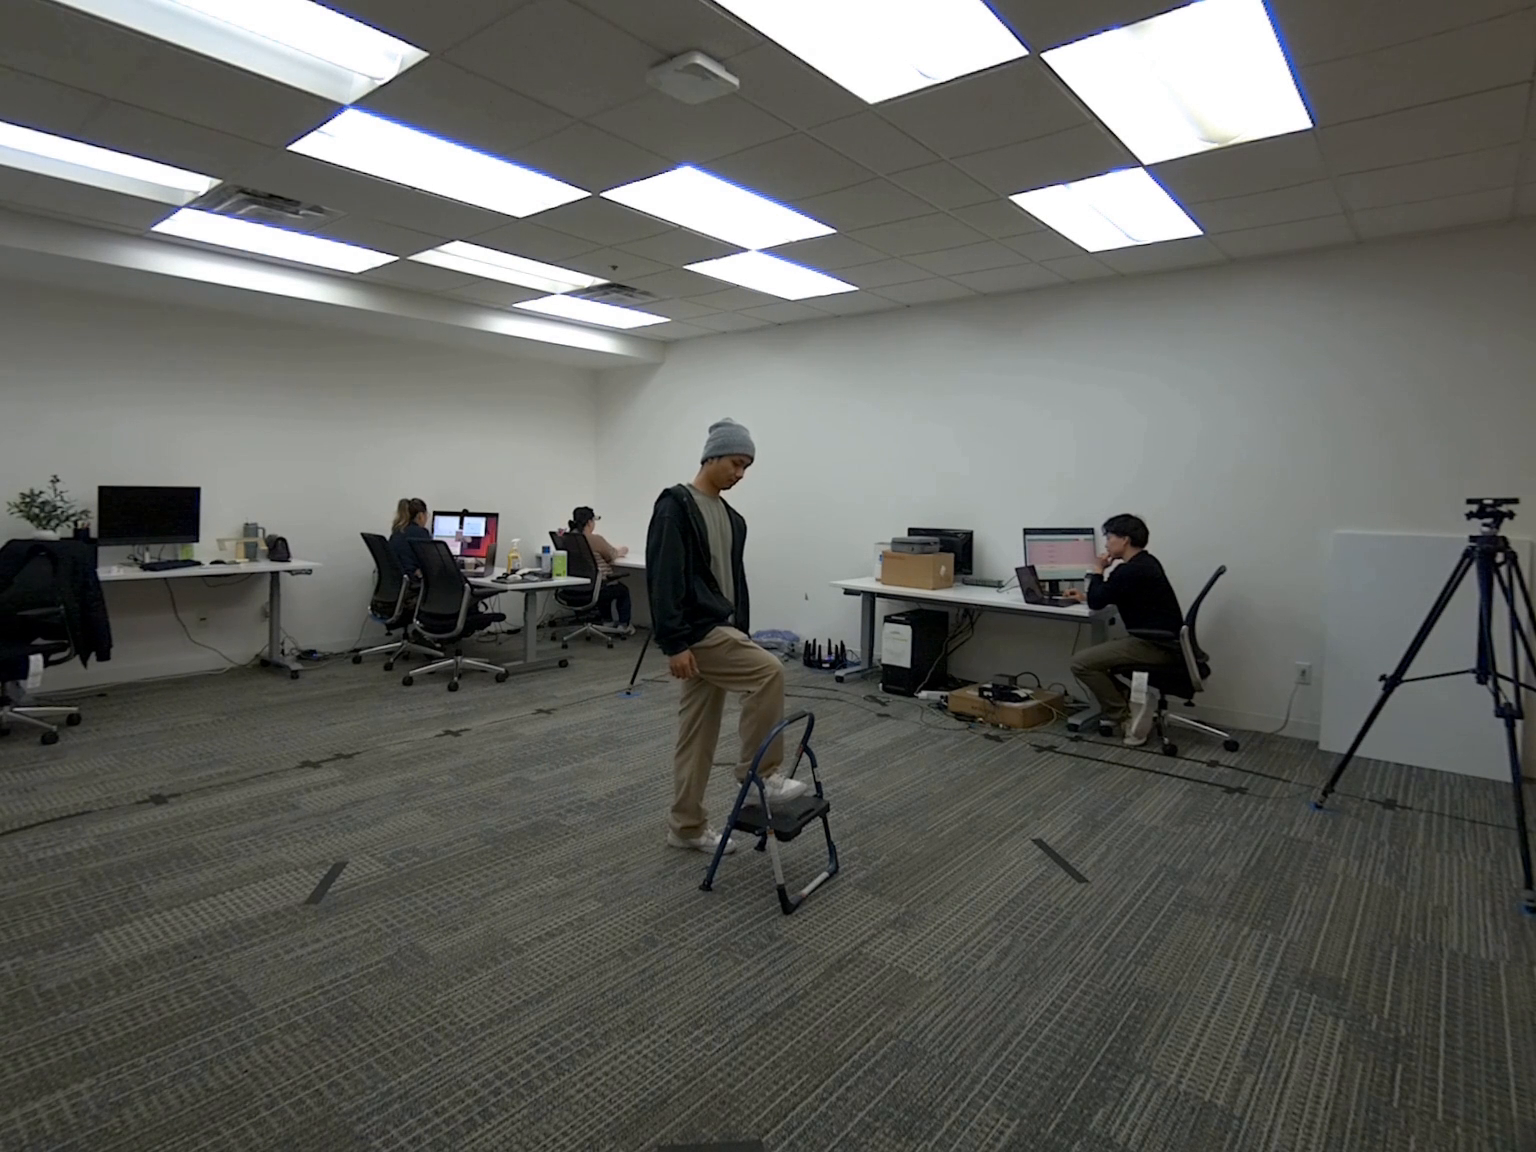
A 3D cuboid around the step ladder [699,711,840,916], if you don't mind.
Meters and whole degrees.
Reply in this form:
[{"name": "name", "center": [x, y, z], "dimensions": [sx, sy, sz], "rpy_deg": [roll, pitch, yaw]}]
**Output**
[{"name": "step ladder", "center": [0.016, 0.777, 3.018], "dimensions": [0.359, 0.604, 0.420], "rpy_deg": [4, 4, 29]}]
